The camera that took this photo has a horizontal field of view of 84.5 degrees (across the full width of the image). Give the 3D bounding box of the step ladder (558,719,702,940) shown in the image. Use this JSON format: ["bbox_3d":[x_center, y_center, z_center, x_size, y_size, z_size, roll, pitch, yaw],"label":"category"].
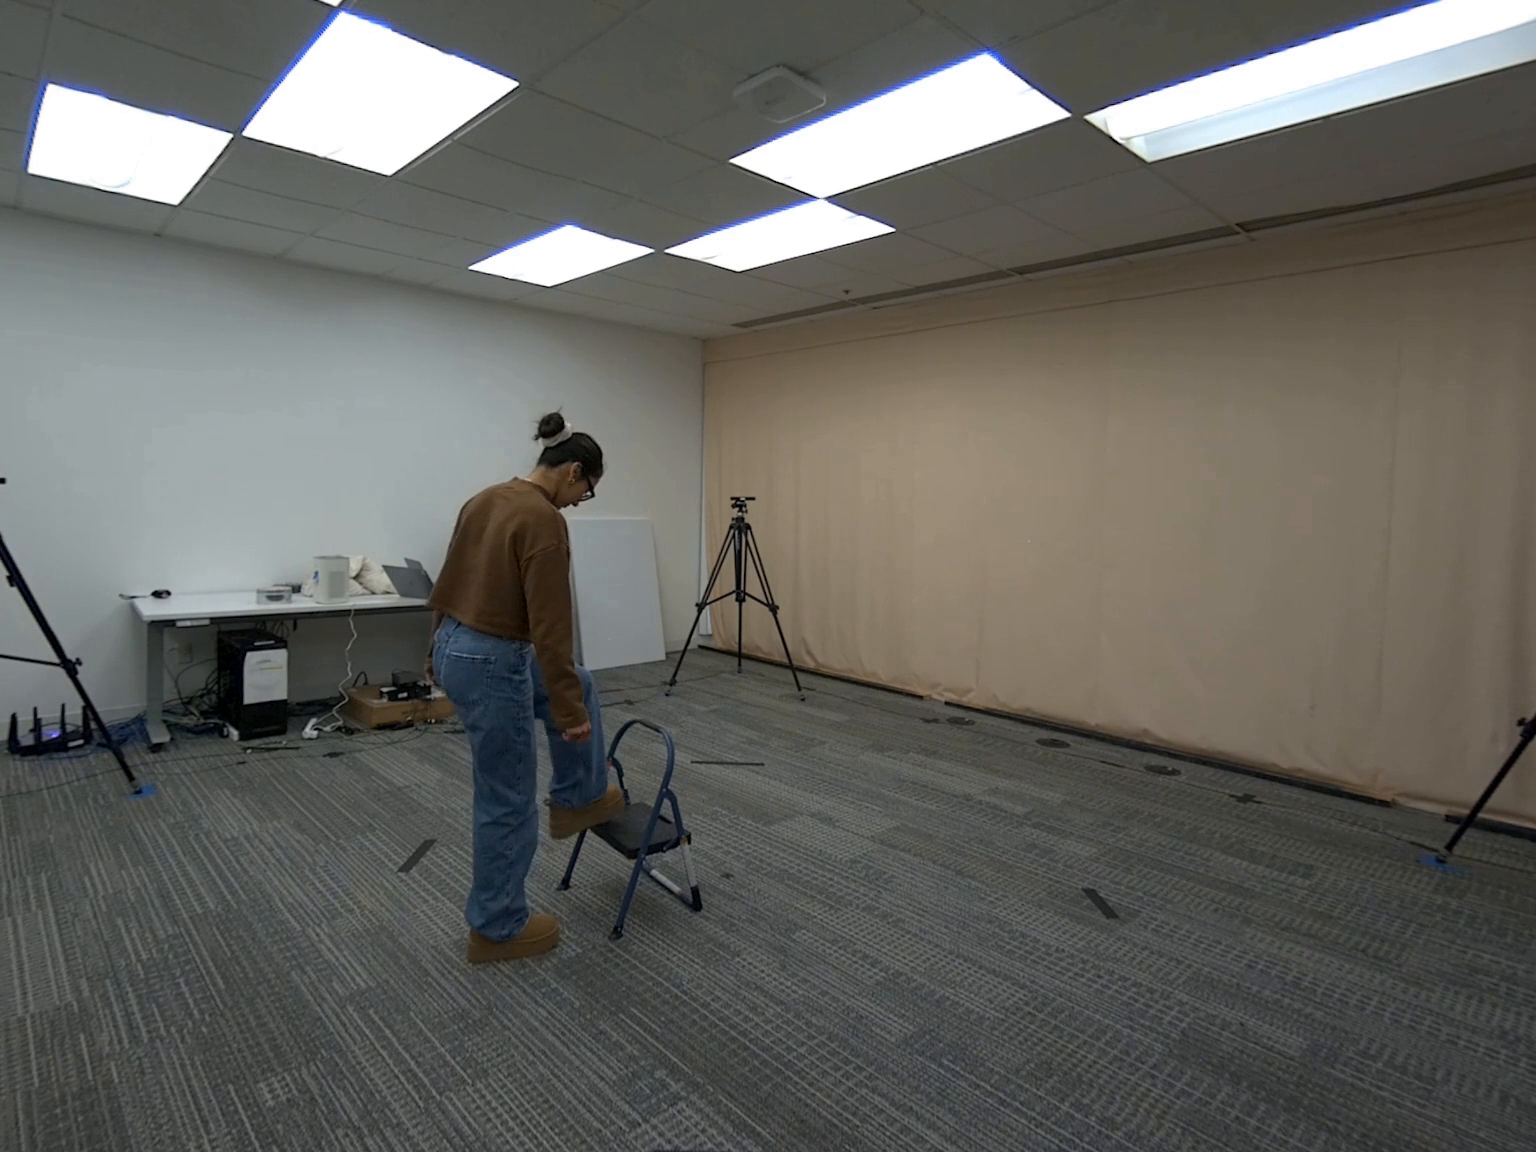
[{"bbox_3d":[-0.475,0.815,2.889,0.341,0.605,0.441,-1,4,-37],"label":"step ladder"}]
